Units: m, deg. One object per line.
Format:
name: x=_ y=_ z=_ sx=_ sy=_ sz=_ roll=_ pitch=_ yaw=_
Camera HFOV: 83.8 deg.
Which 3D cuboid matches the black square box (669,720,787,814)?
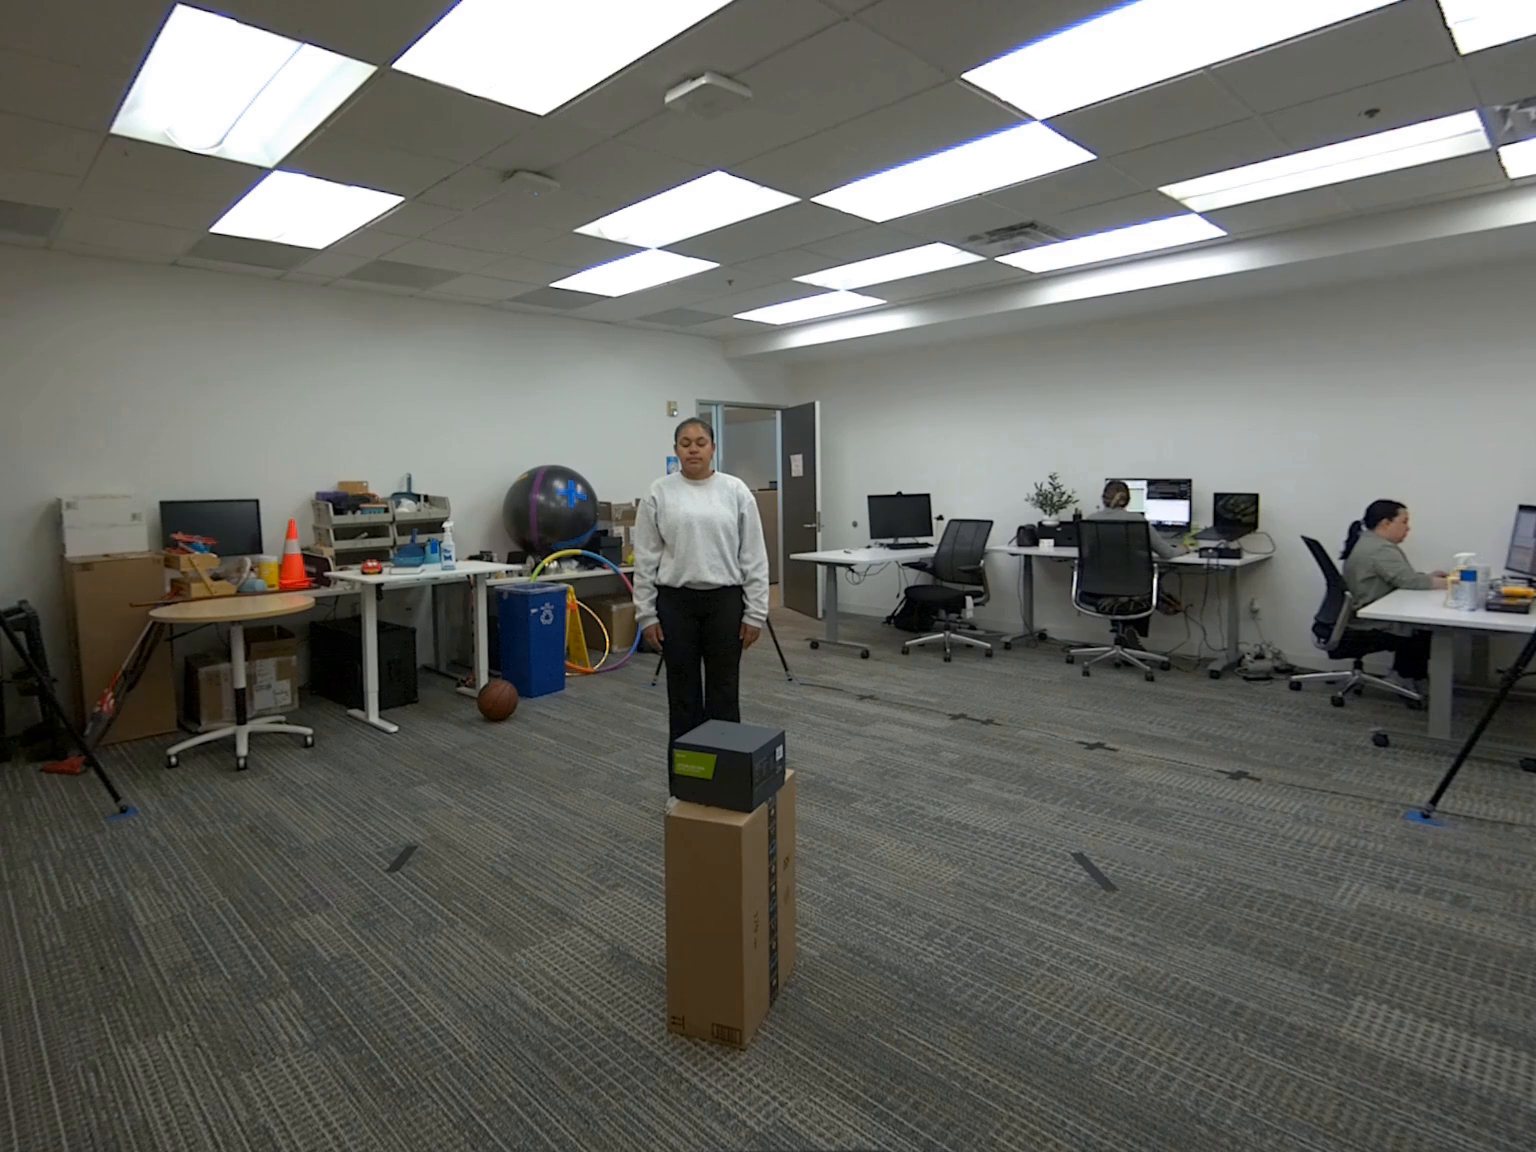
black square box: x=-0.104 y=0.499 z=2.277 sx=0.233 sy=0.155 sz=0.213 roll=3 pitch=7 yaw=25
